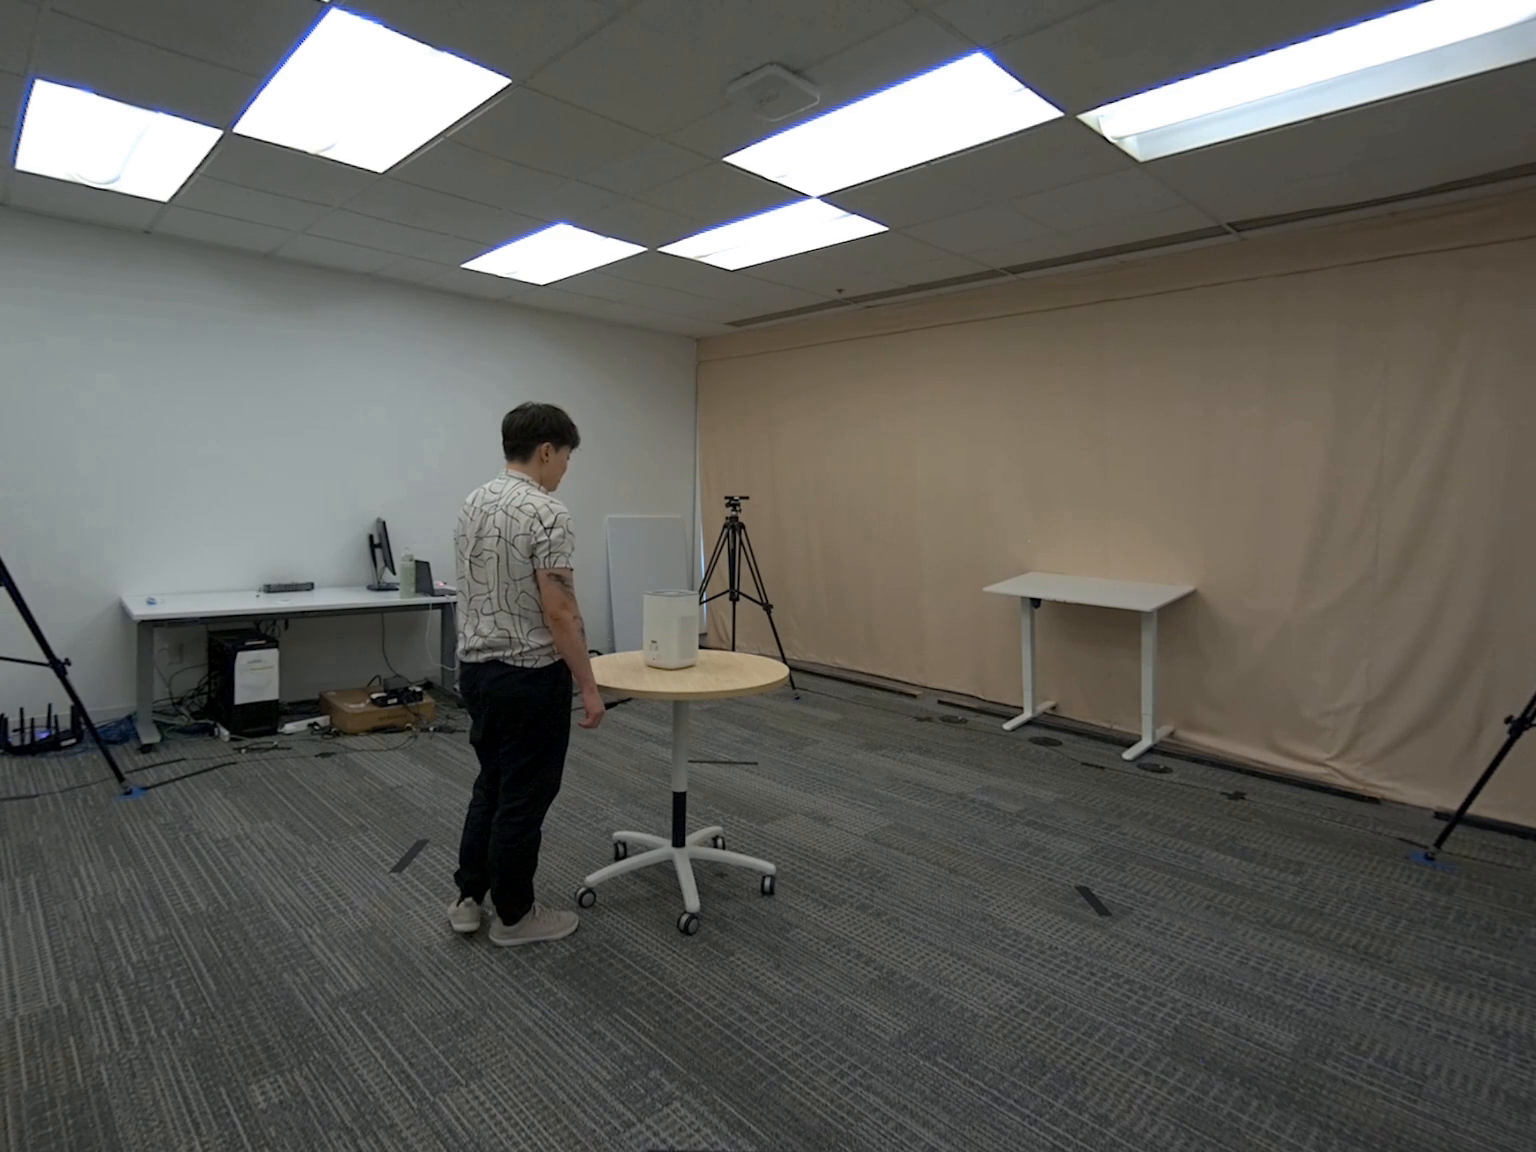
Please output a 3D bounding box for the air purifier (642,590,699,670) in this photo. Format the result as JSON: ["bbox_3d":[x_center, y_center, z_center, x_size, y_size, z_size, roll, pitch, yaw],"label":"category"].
[{"bbox_3d":[-0.352,0.191,3.018,0.175,0.265,0.168,4,5,37],"label":"air purifier"}]
